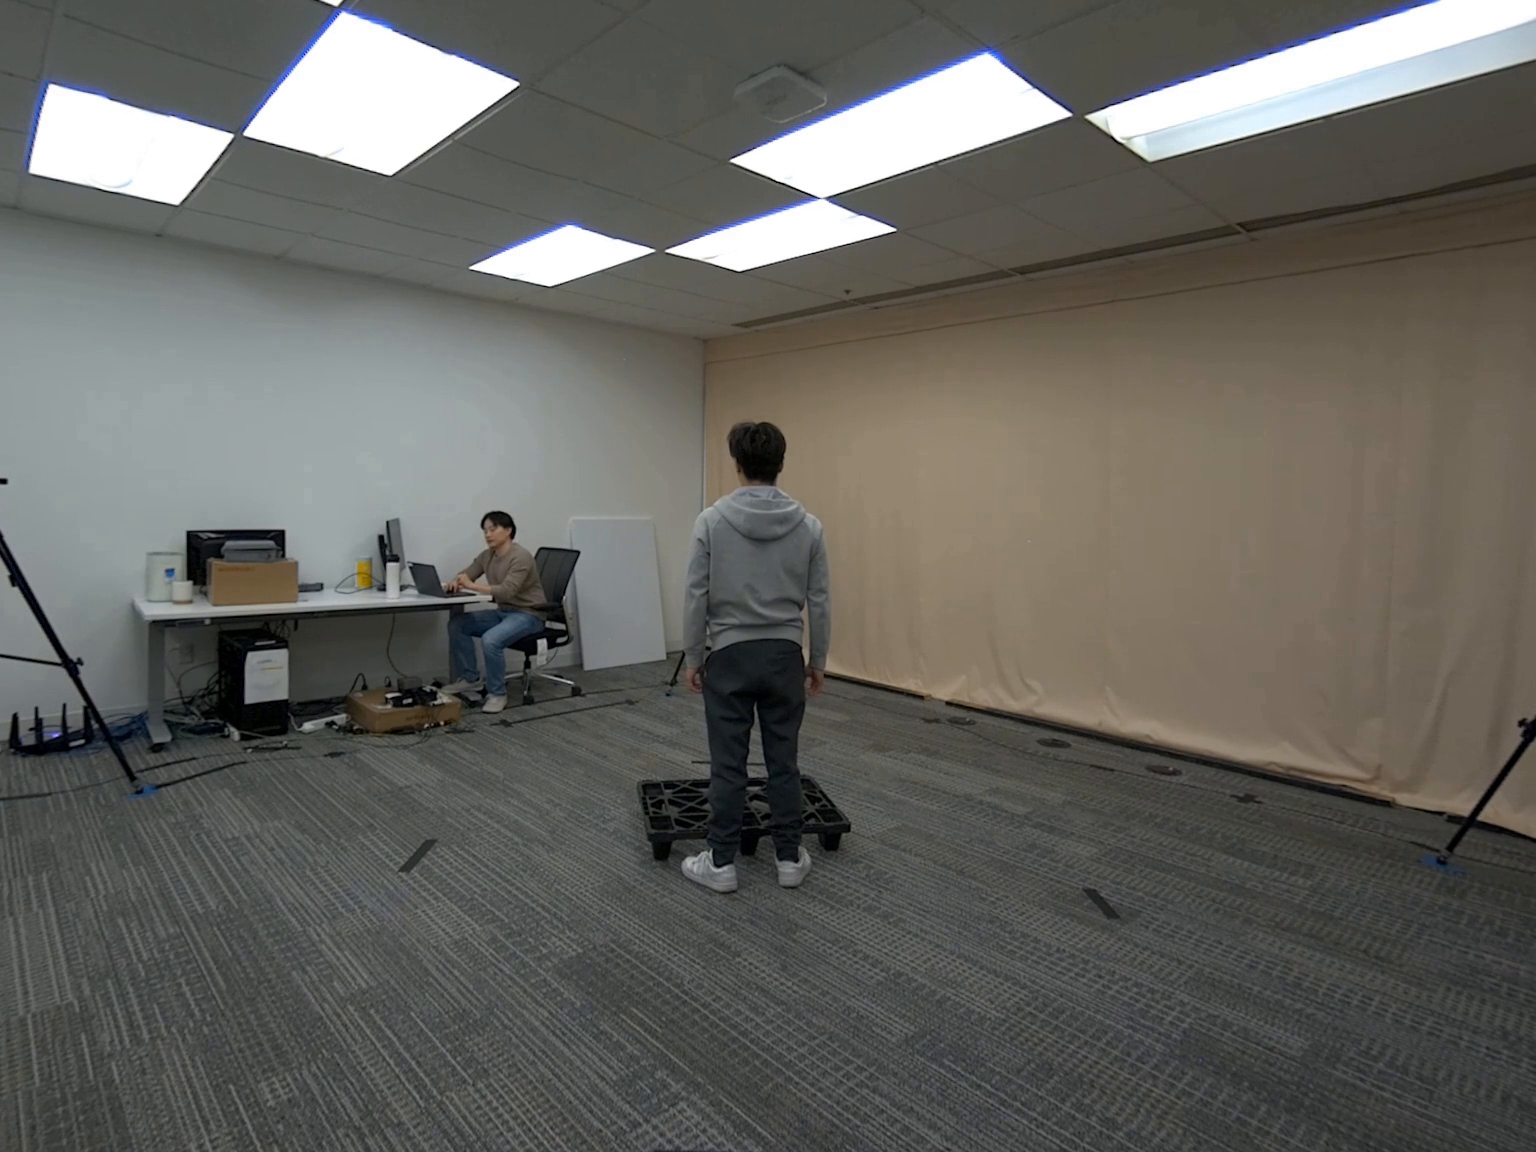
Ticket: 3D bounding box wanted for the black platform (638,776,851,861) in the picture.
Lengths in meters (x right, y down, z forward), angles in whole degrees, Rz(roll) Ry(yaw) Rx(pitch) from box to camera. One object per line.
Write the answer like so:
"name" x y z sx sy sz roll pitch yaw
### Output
"black platform" -0.136 1.004 3.516 0.799 0.143 0.612 1 4 -11
